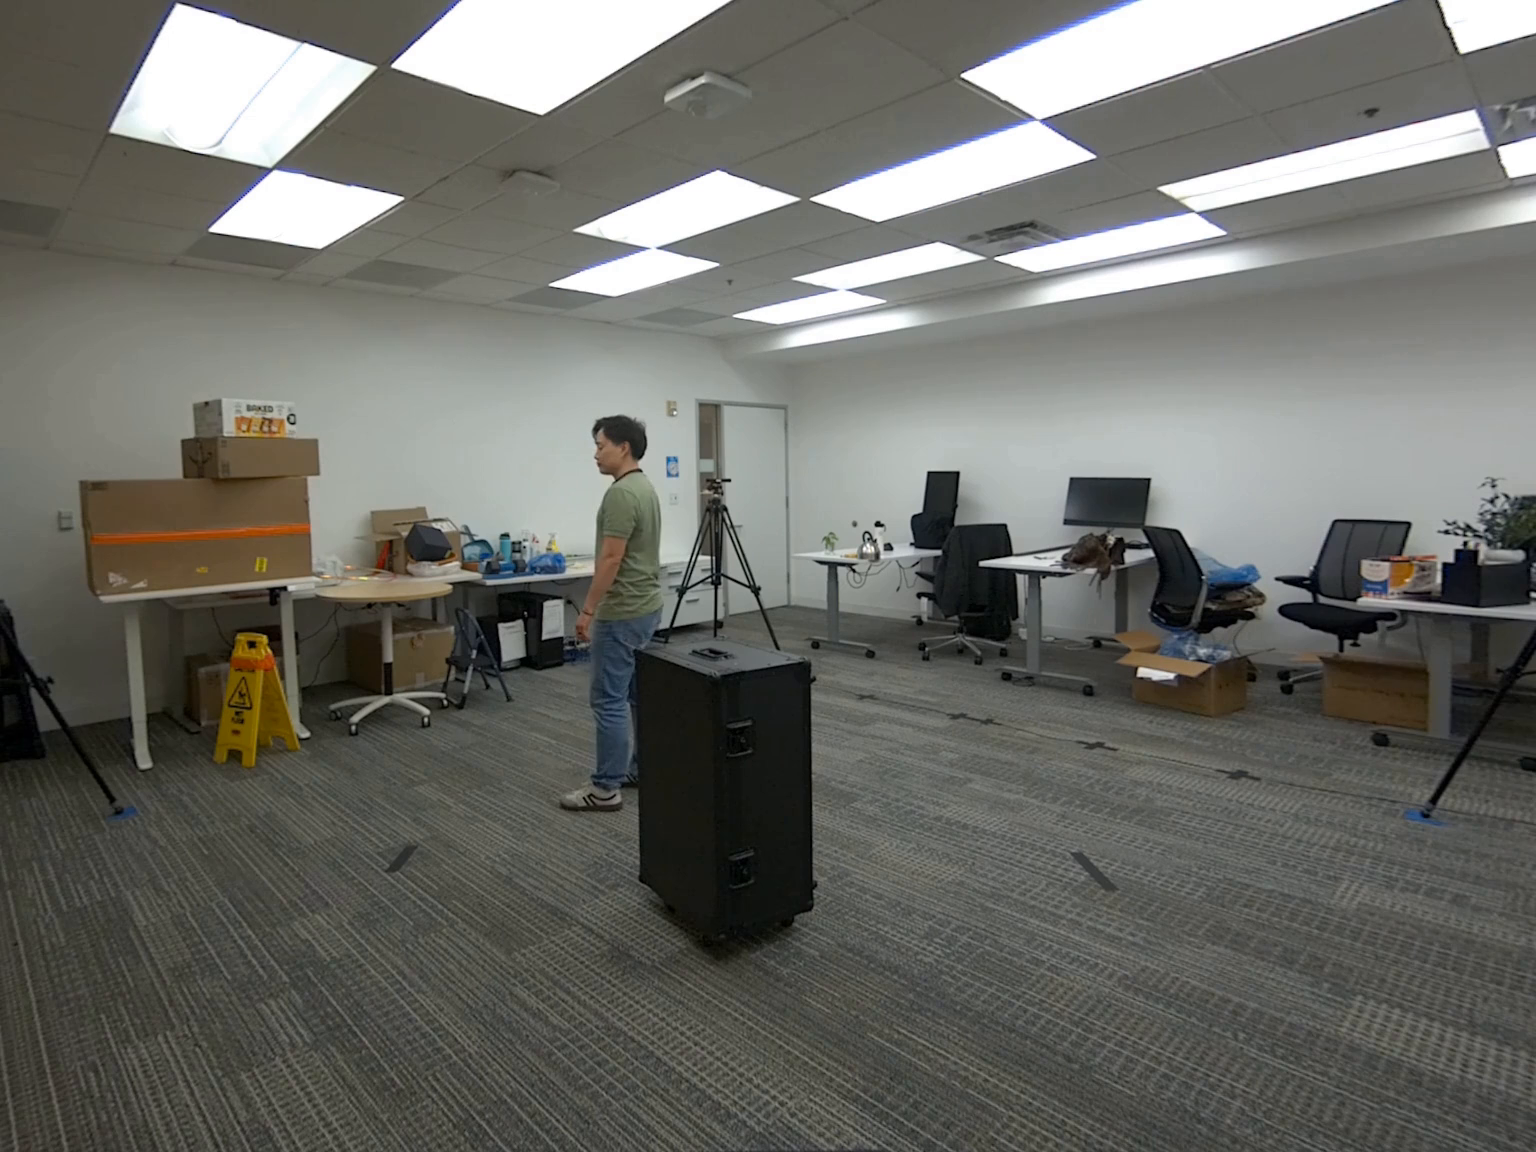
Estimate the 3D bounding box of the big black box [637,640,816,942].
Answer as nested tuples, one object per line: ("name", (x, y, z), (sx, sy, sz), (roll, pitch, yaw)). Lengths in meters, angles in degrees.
("big black box", (-0.140, 0.665, 2.715), (0.386, 0.858, 0.536), (-3, 5, -34))
